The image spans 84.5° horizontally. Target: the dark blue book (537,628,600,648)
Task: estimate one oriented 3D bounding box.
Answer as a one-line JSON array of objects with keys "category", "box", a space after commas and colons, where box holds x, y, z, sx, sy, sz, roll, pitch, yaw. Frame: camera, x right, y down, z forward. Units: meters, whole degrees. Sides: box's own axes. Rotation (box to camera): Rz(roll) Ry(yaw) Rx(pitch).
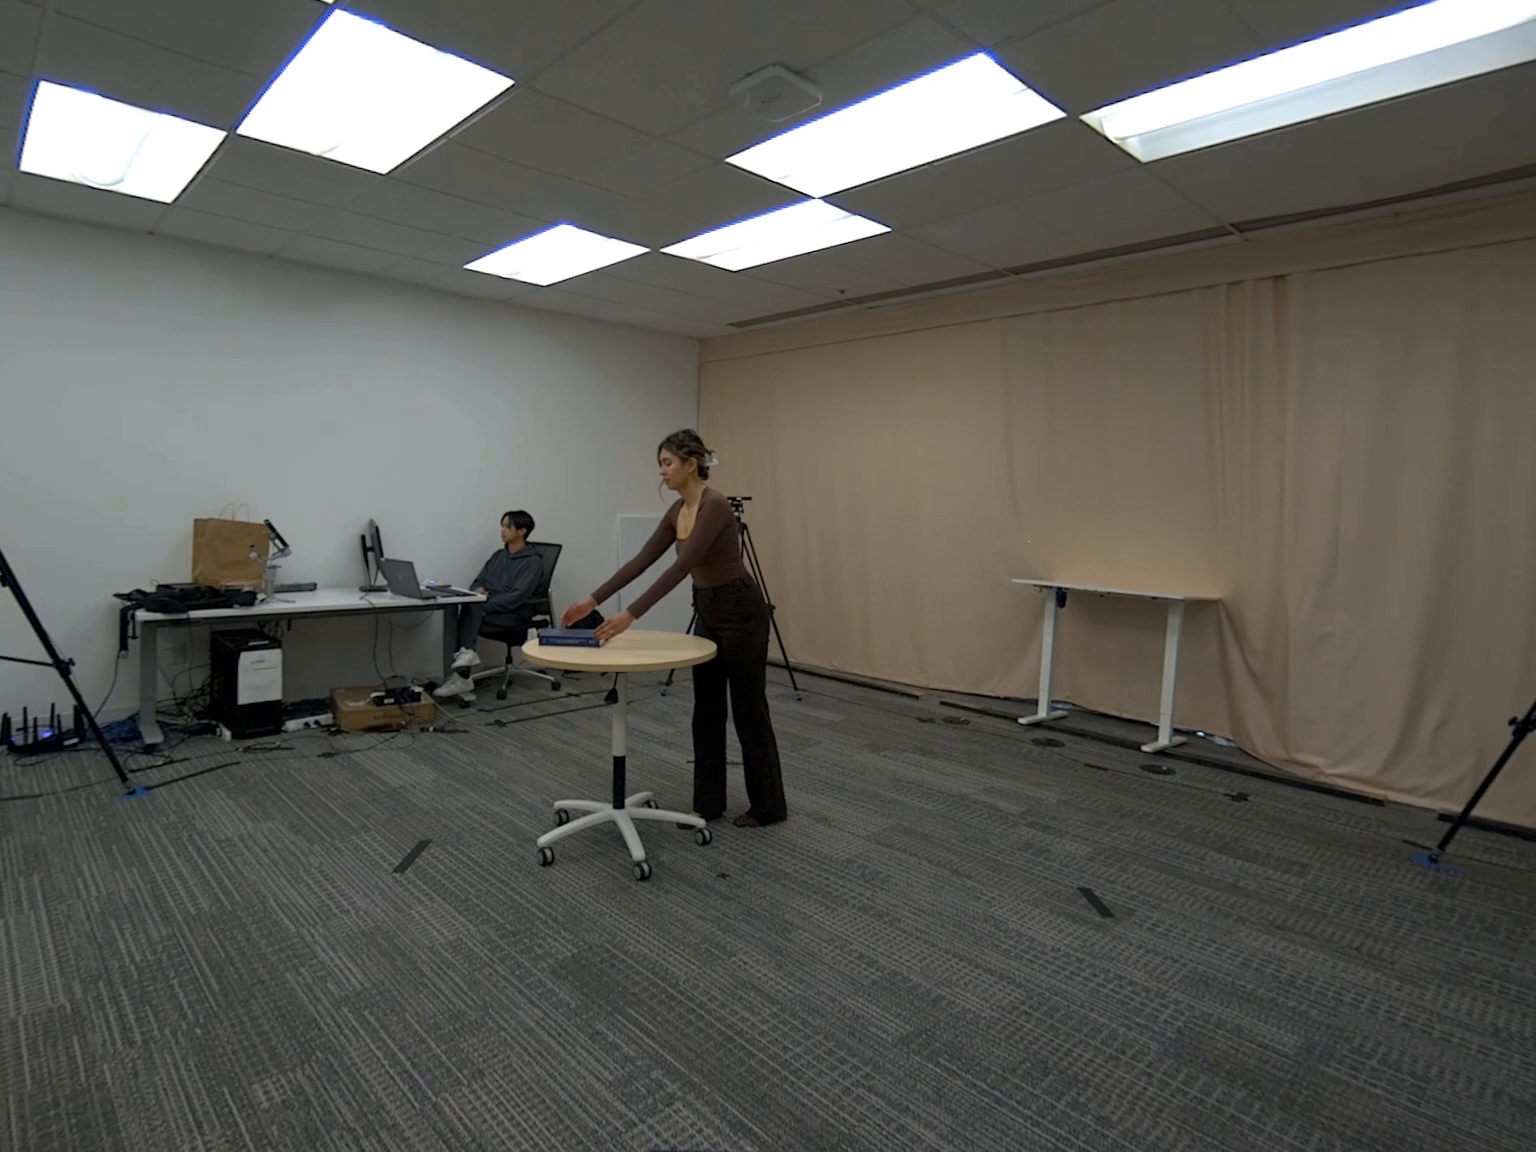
[{"category": "dark blue book", "box": [-0.793, 0.246, 3.378, 0.246, 0.045, 0.163, 3, 5, 4]}]
